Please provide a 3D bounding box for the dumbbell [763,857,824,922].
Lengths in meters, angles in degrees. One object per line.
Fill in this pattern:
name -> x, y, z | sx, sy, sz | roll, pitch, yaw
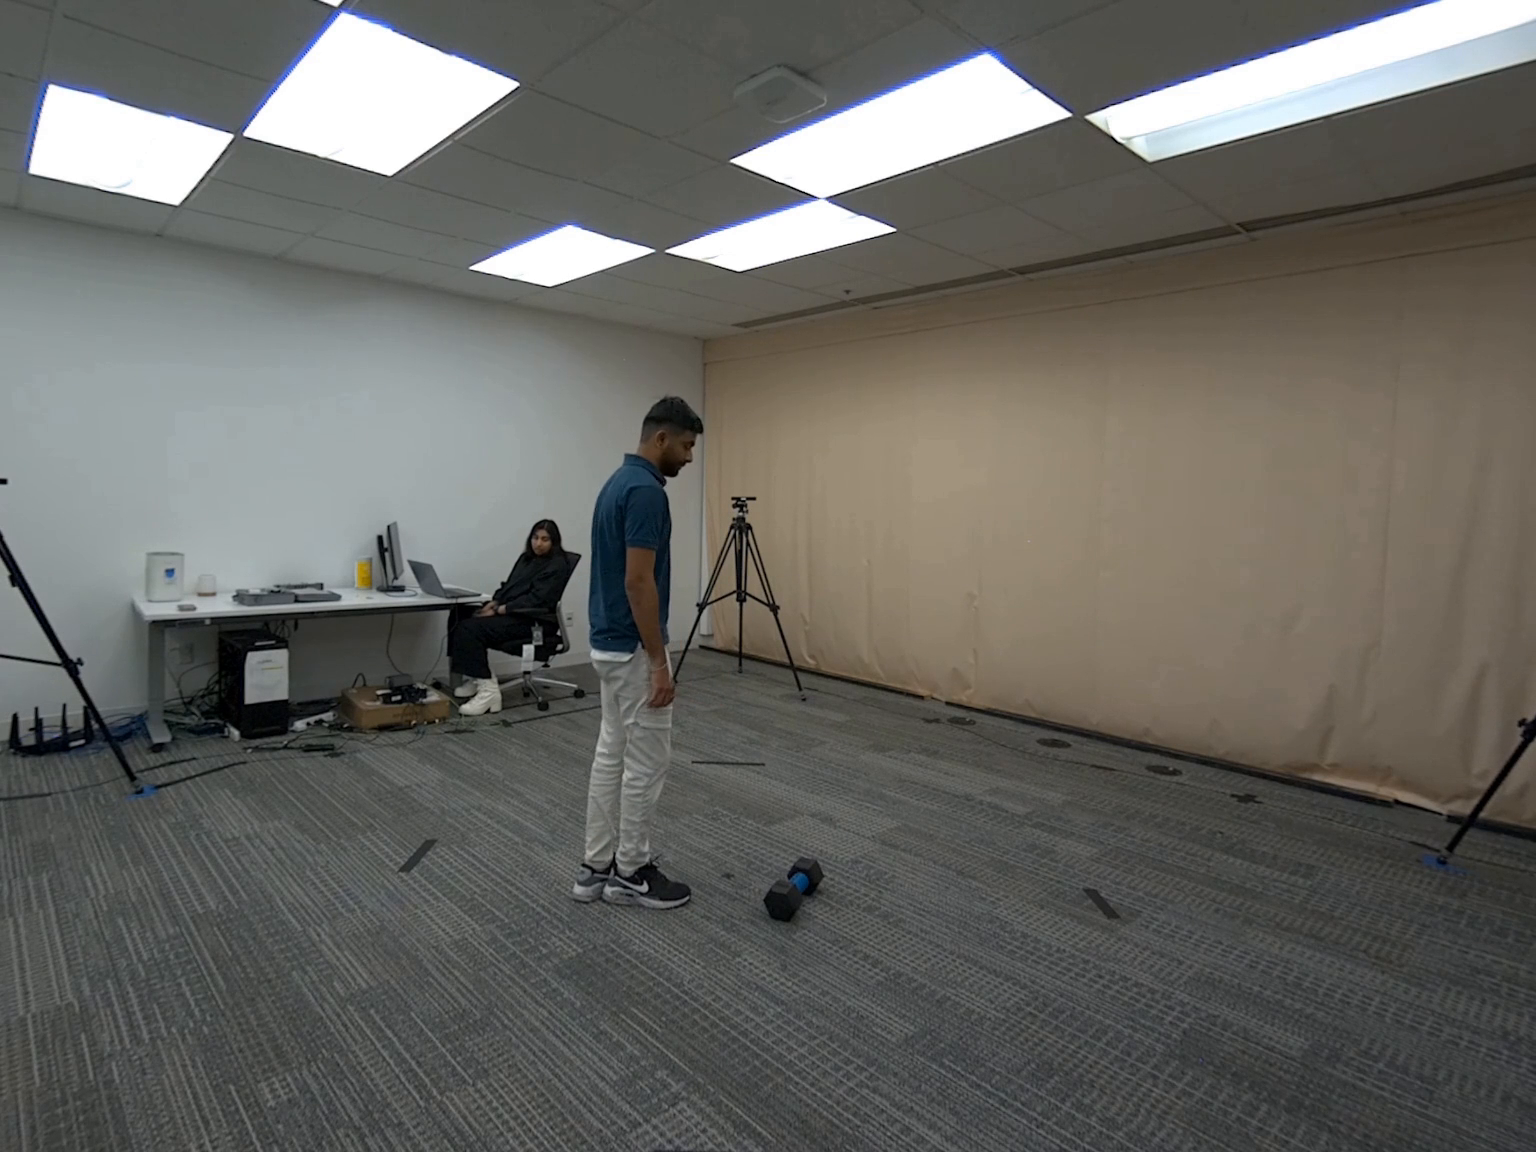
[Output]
dumbbell -> 0.085, 1.079, 2.897 | 0.111, 0.122, 0.289 | 34, 16, 16
